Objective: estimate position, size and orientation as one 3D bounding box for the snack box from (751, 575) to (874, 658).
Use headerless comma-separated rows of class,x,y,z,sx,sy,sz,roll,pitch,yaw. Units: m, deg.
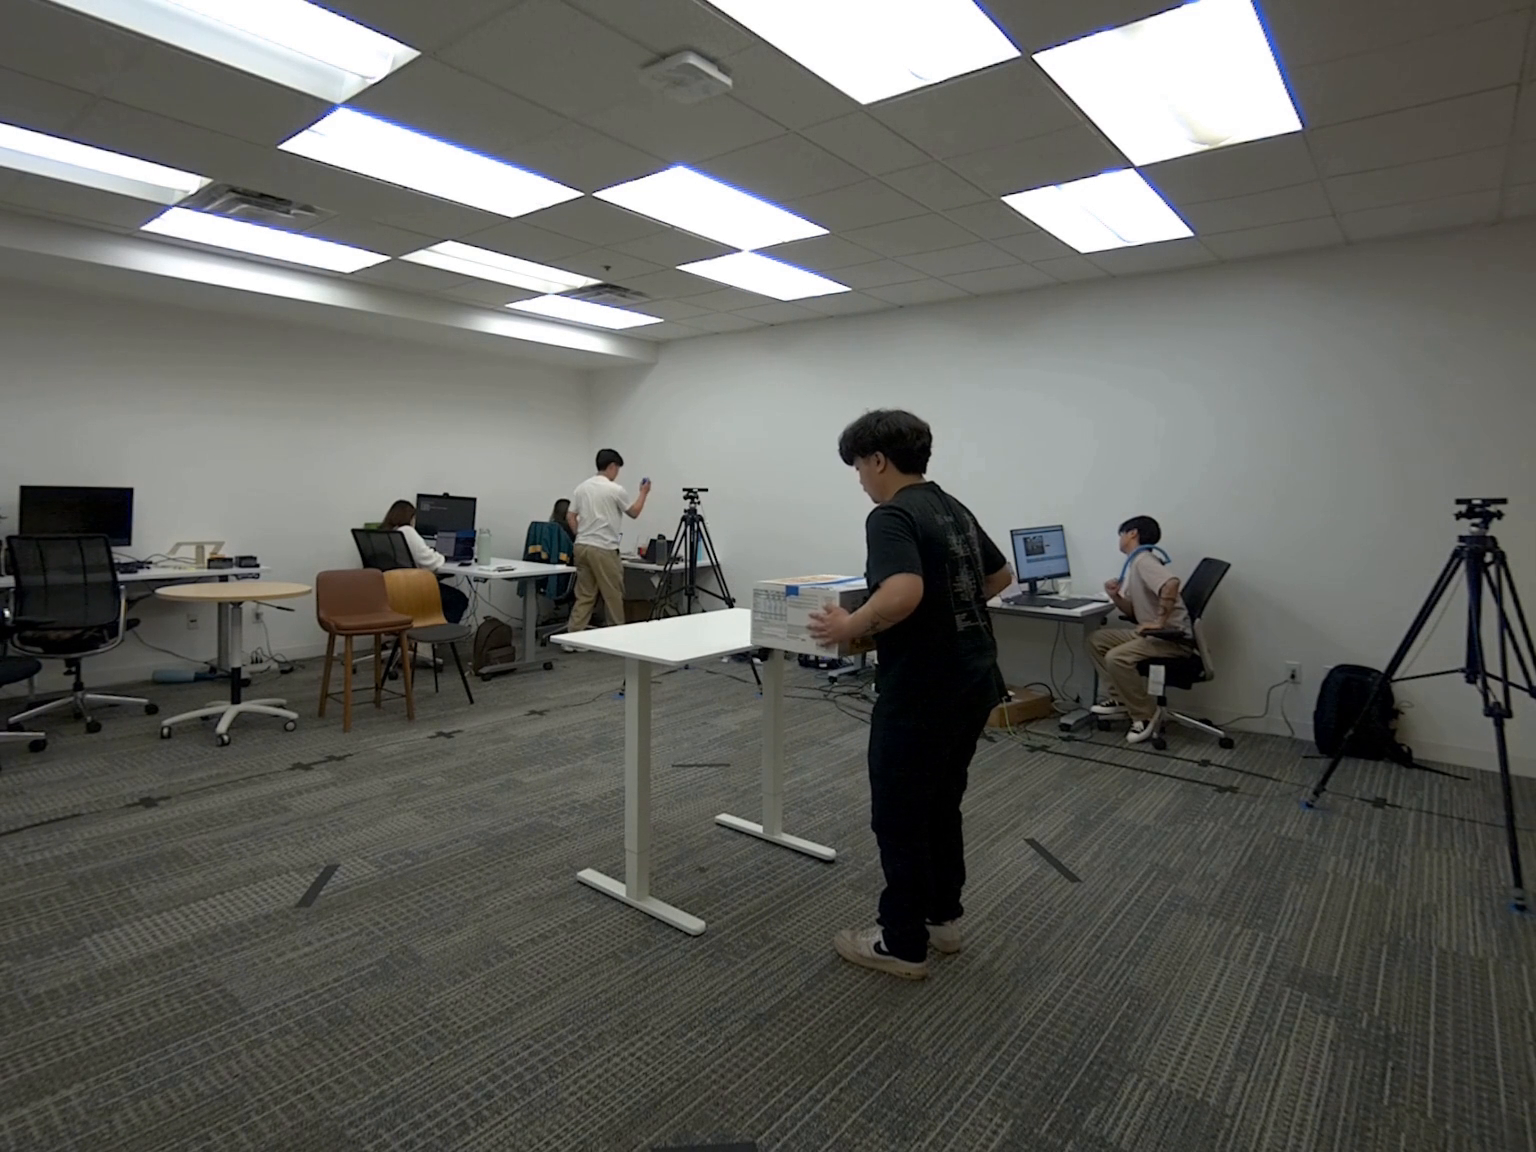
snack box,0.191,0.121,2.737,0.352,0.205,0.393,4,5,41
